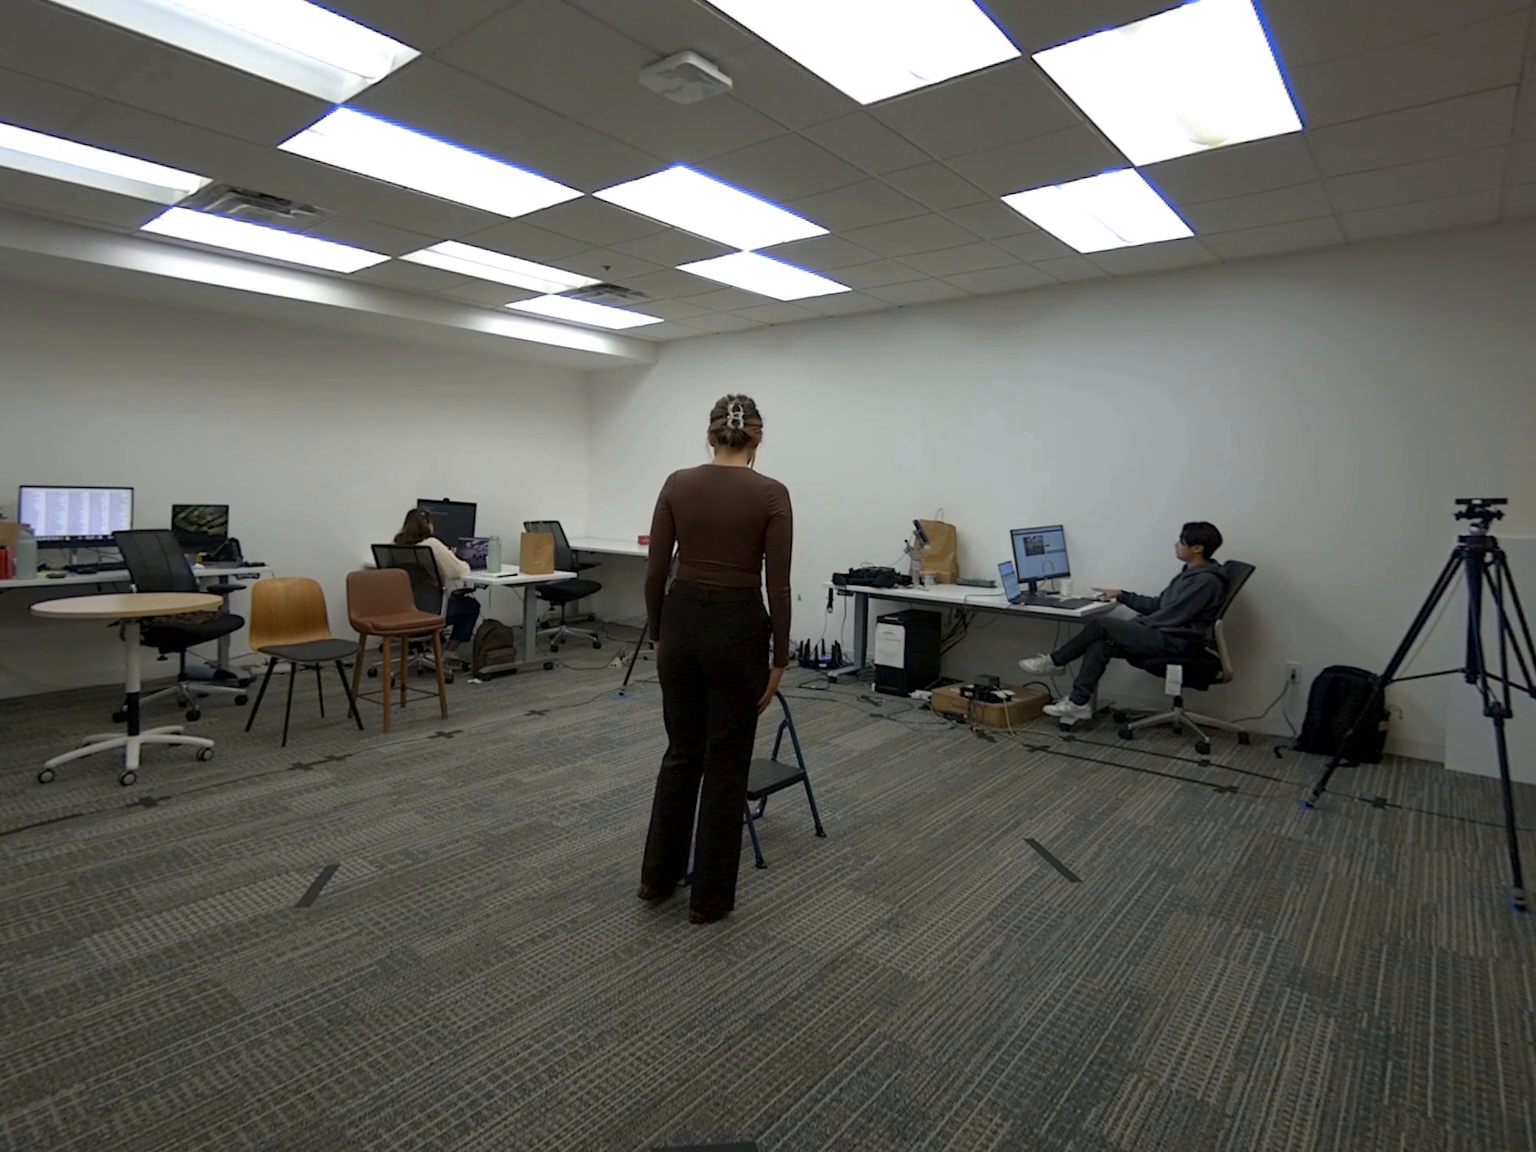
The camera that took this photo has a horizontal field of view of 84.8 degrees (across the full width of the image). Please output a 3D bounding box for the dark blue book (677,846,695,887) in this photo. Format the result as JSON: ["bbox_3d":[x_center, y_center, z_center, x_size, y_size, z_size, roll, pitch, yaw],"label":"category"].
[{"bbox_3d":[-0.283,1.036,3.100,0.169,0.045,0.238,6,7,38],"label":"dark blue book"}]
